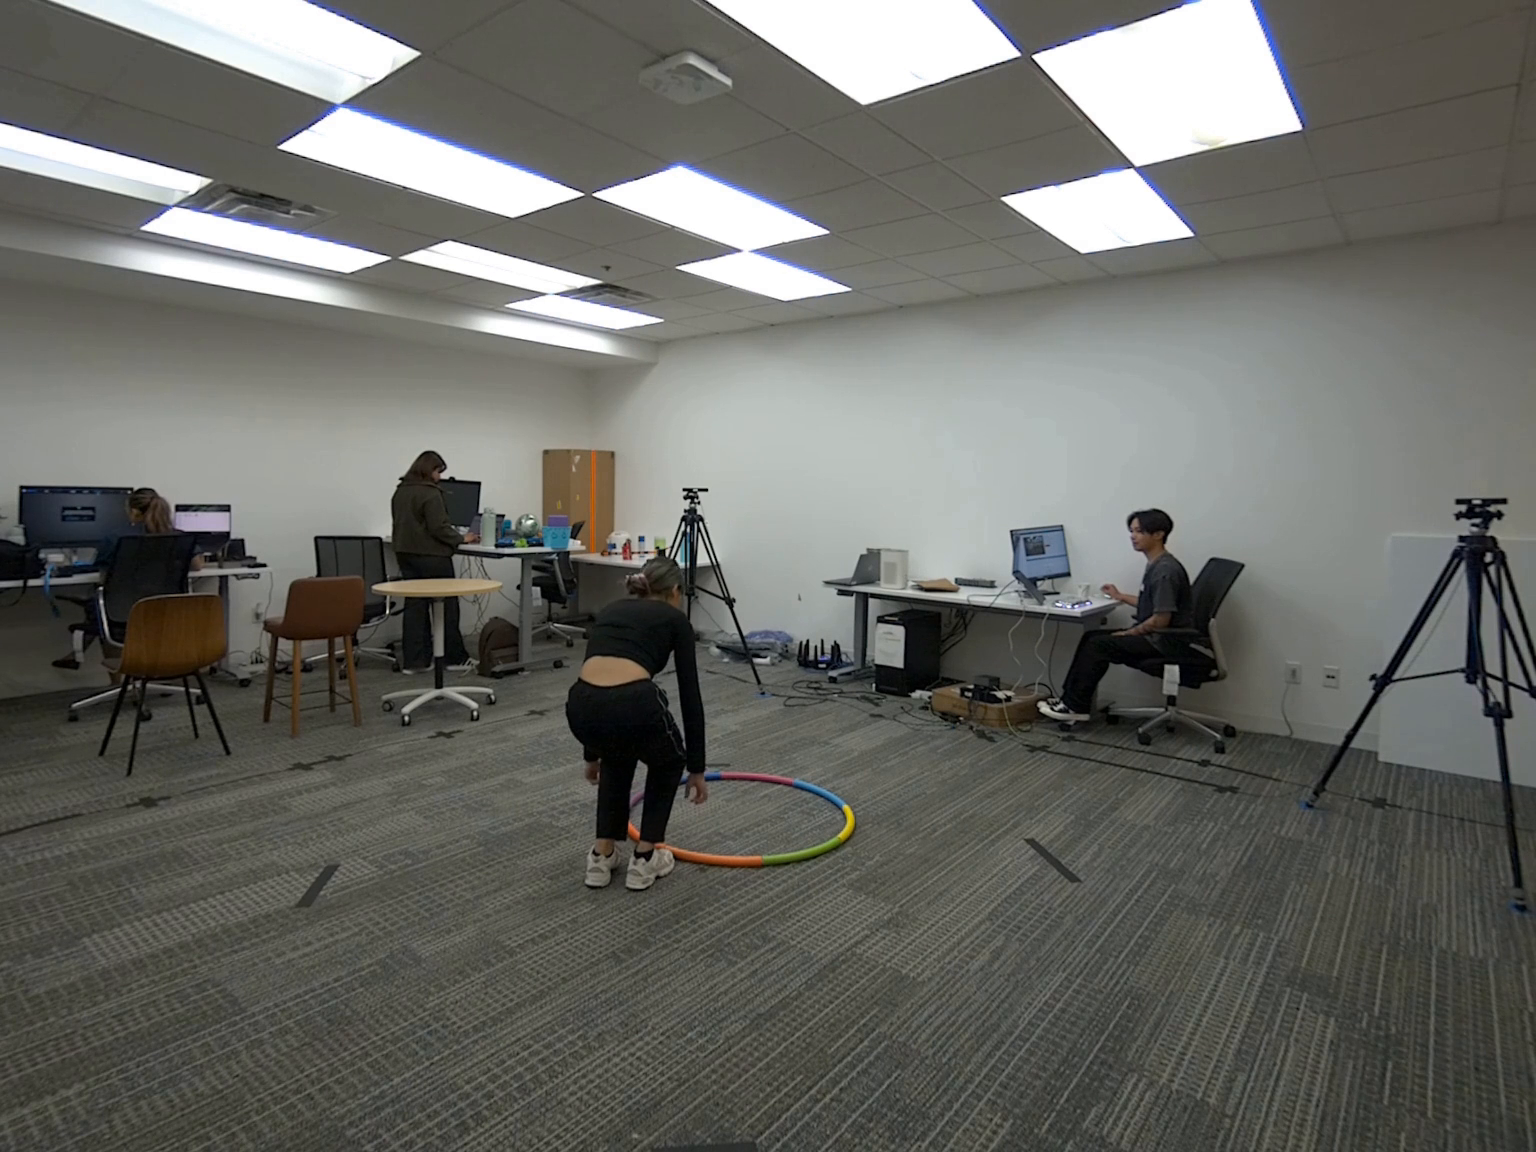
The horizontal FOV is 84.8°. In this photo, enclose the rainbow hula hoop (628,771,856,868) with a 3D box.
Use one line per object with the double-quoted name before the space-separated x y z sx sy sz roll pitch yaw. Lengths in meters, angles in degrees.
"rainbow hula hoop" -0.135 0.992 3.612 0.978 0.035 0.984 1 6 -2
